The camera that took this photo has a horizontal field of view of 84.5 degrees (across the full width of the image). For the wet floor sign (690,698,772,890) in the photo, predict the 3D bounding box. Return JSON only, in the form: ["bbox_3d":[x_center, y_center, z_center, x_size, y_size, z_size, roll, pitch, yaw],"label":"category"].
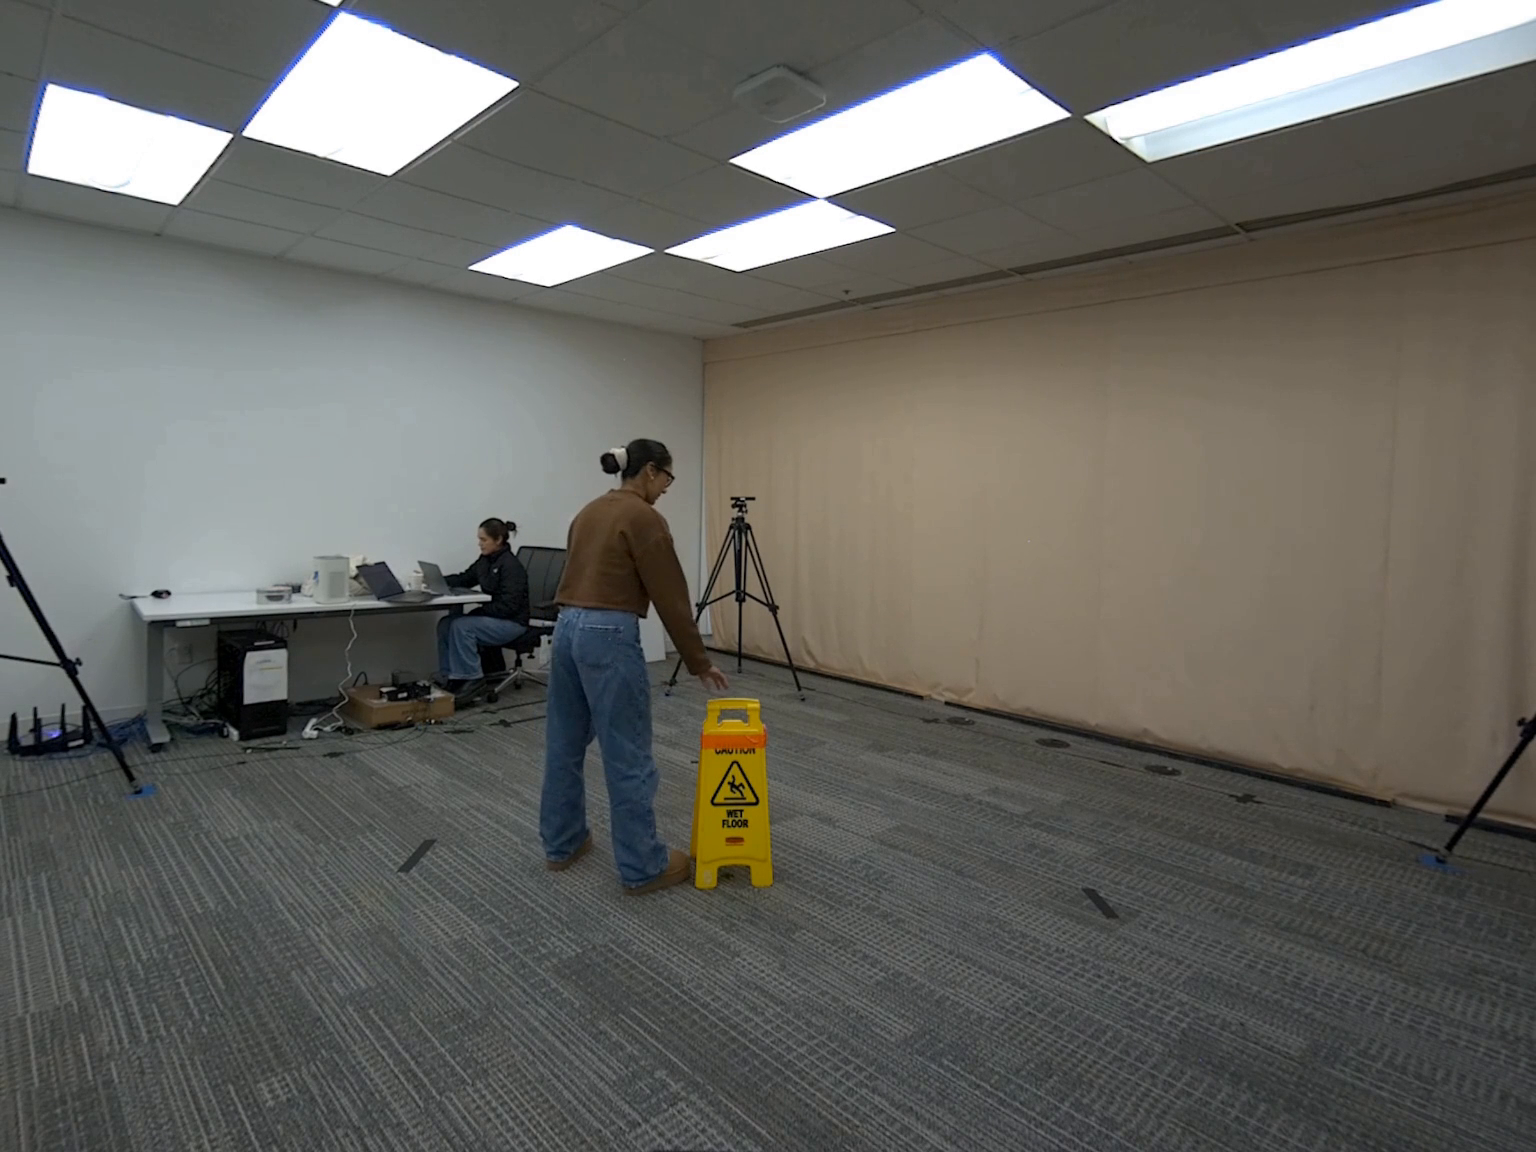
[{"bbox_3d":[-0.141,0.779,3.132,0.280,0.645,0.292,1,3,-9],"label":"wet floor sign"}]
